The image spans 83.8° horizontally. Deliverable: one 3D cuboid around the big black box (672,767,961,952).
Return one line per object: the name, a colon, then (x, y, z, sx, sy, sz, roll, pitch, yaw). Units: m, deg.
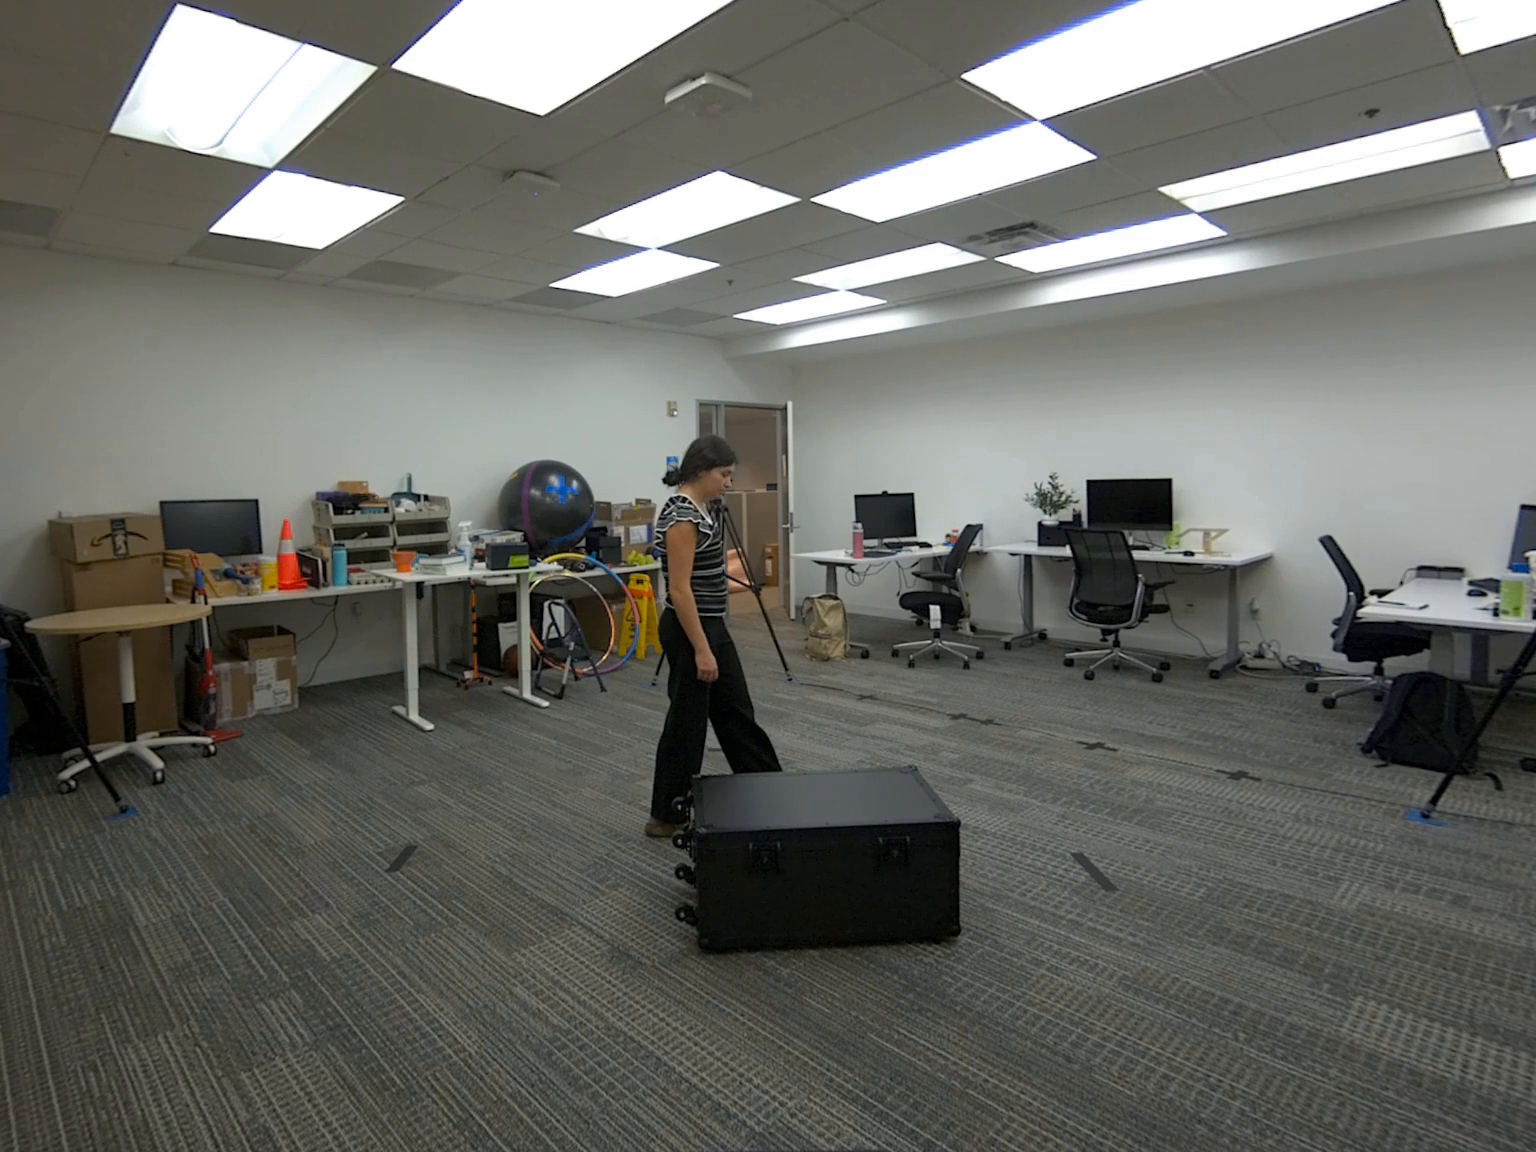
big black box: (0.125, 0.890, 2.752, 0.858, 0.395, 0.525, -1, 5, -4)
